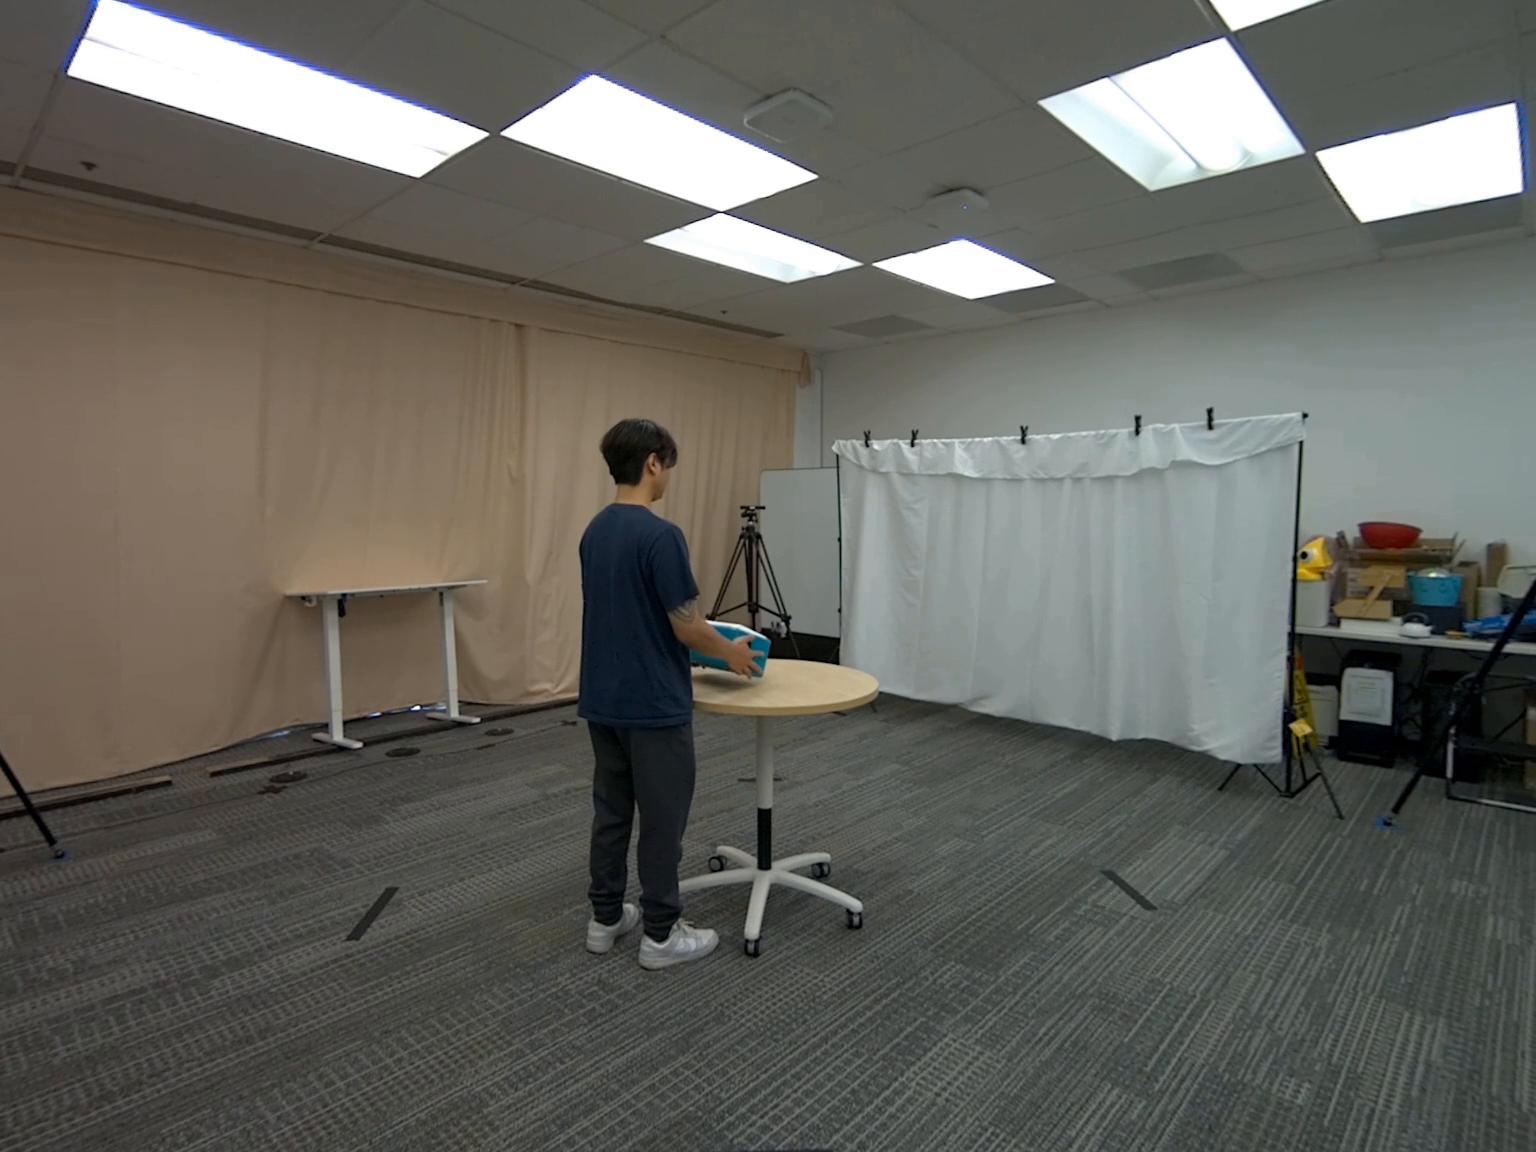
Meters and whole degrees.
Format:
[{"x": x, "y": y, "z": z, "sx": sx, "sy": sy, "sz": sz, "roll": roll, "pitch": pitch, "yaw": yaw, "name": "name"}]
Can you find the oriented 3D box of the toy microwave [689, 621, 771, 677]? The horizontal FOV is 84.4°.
[{"x": -0.139, "y": 0.243, "z": 2.840, "sx": 0.178, "sy": 0.153, "sz": 0.295, "roll": 23, "pitch": -13, "yaw": -38, "name": "toy microwave"}]
